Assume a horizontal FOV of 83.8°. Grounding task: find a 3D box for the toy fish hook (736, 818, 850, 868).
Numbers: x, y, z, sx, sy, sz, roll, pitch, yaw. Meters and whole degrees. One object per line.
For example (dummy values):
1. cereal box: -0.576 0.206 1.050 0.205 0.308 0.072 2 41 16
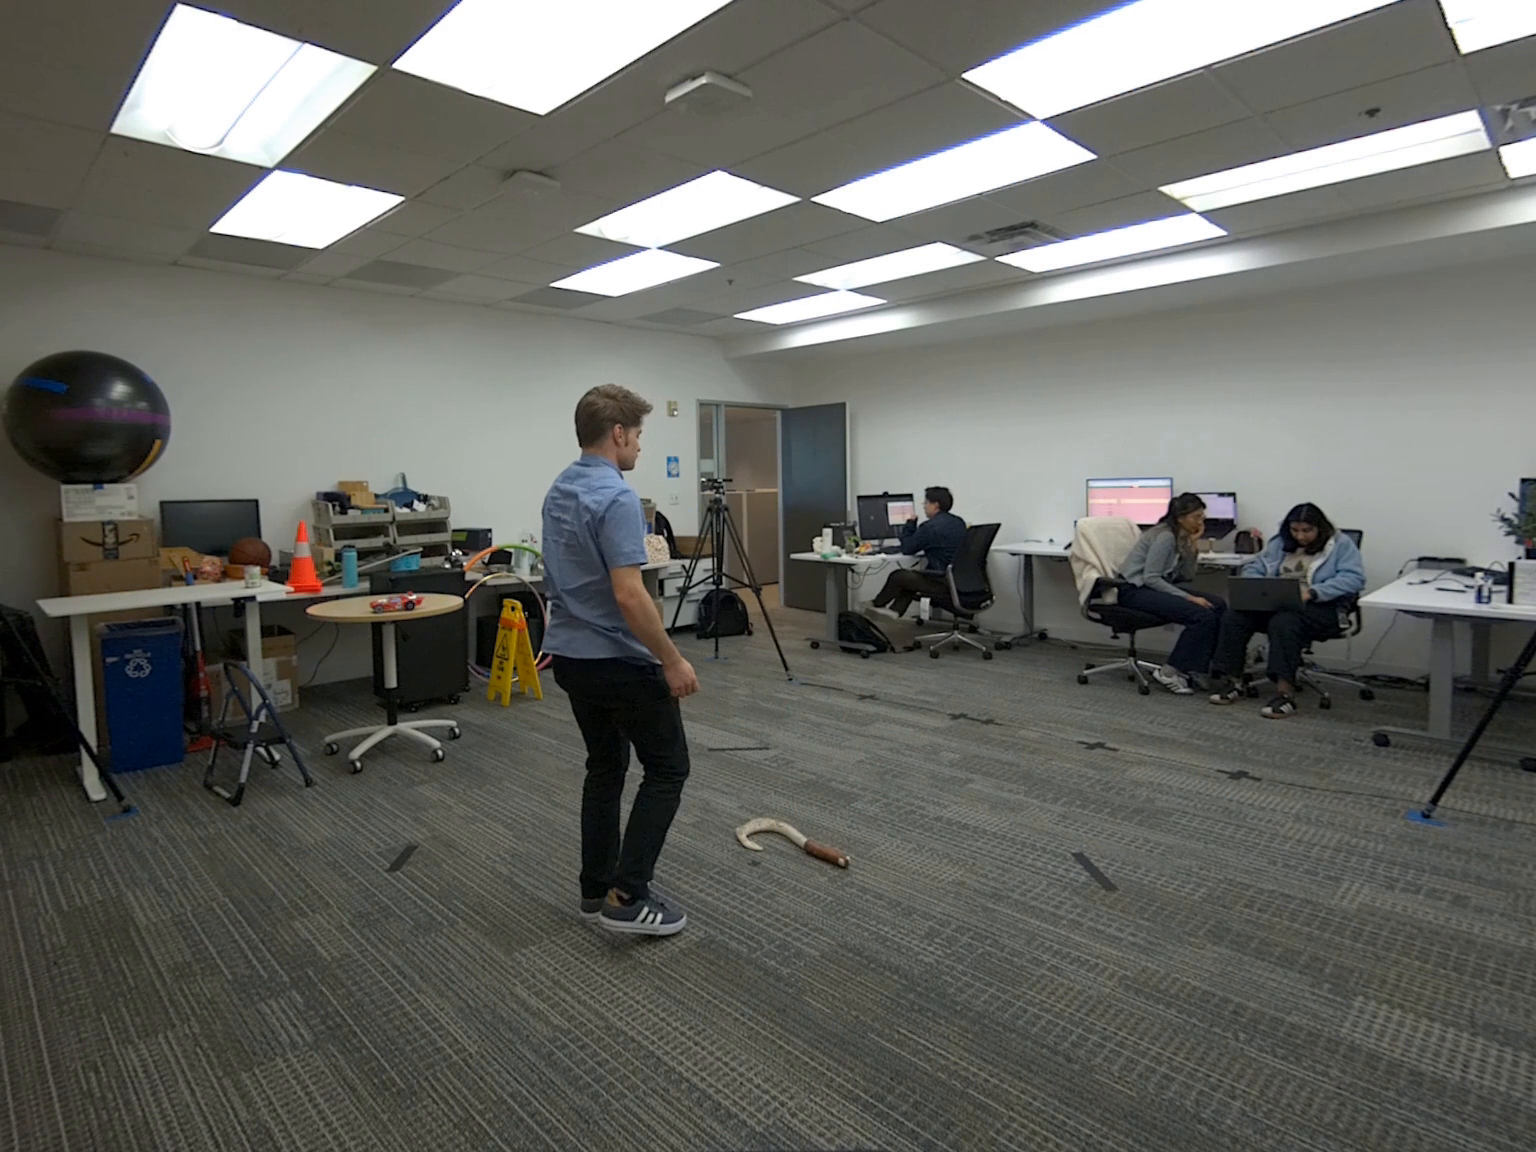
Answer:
1. toy fish hook: 0.082 1.016 3.207 0.220 0.048 0.522 -16 14 -39
